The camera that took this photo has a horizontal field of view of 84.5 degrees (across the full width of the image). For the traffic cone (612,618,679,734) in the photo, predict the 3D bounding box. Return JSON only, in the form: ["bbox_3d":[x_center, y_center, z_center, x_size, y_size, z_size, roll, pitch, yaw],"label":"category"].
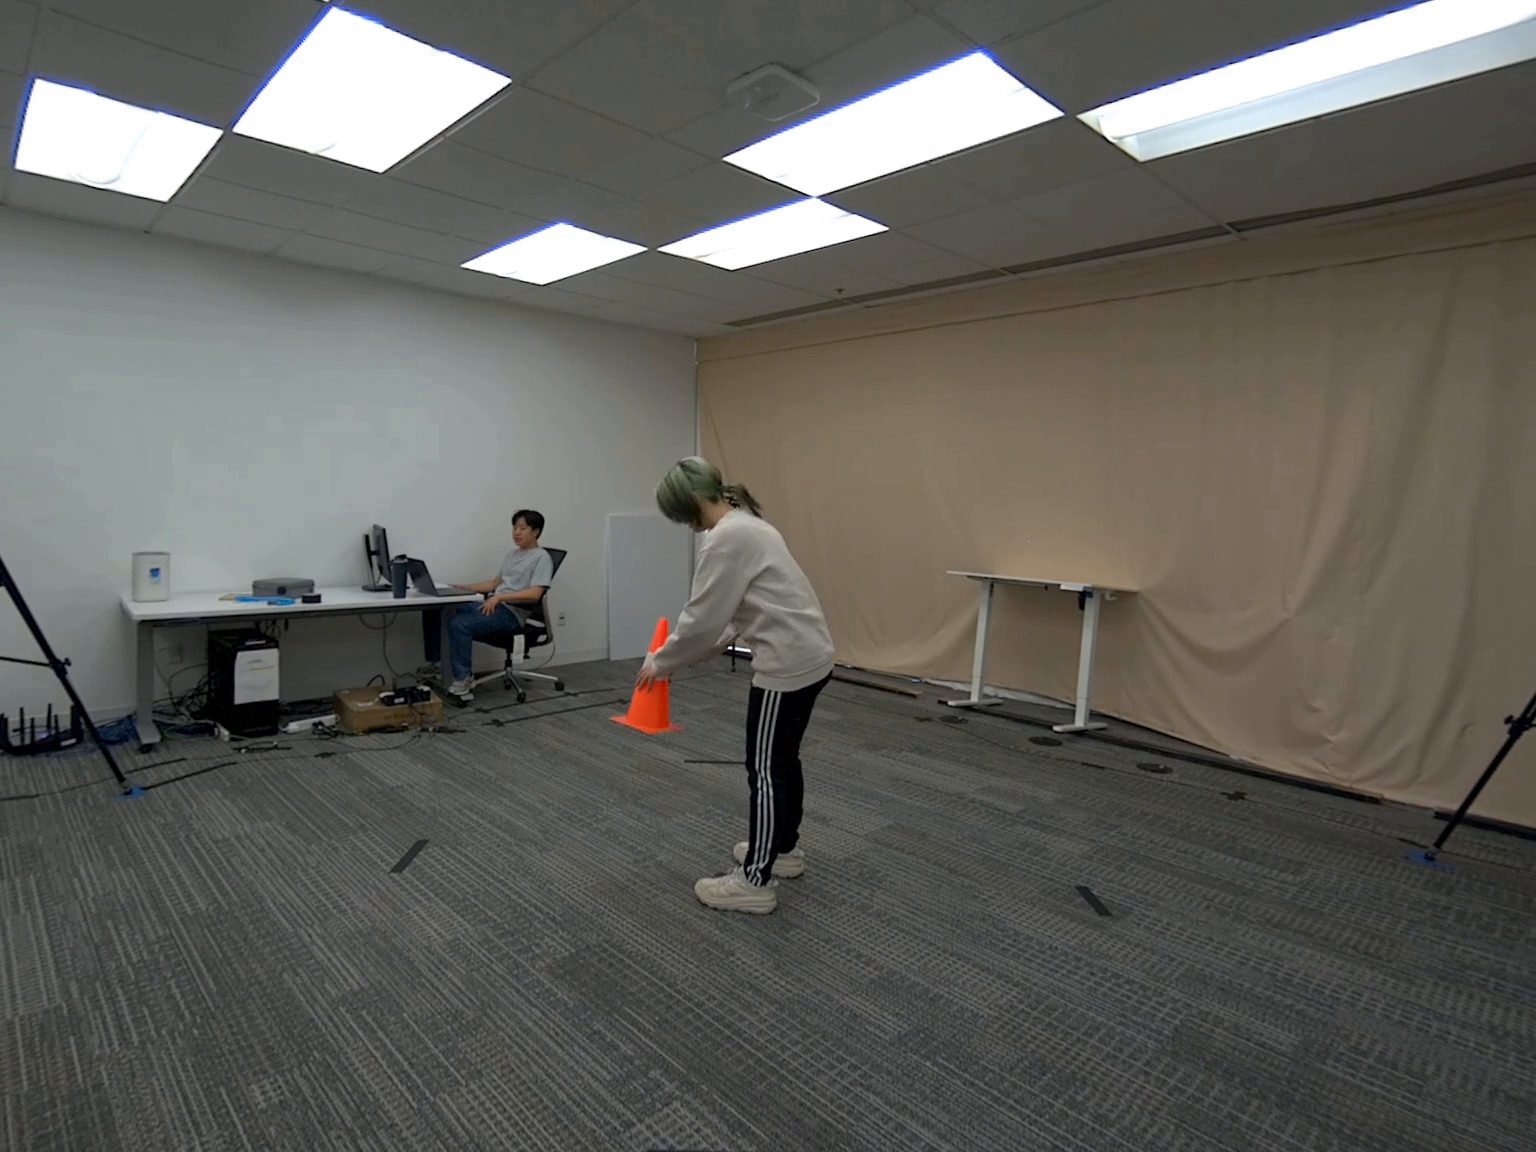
[{"bbox_3d":[-0.401,0.354,3.031,0.209,0.383,0.200,10,3,41],"label":"traffic cone"}]
